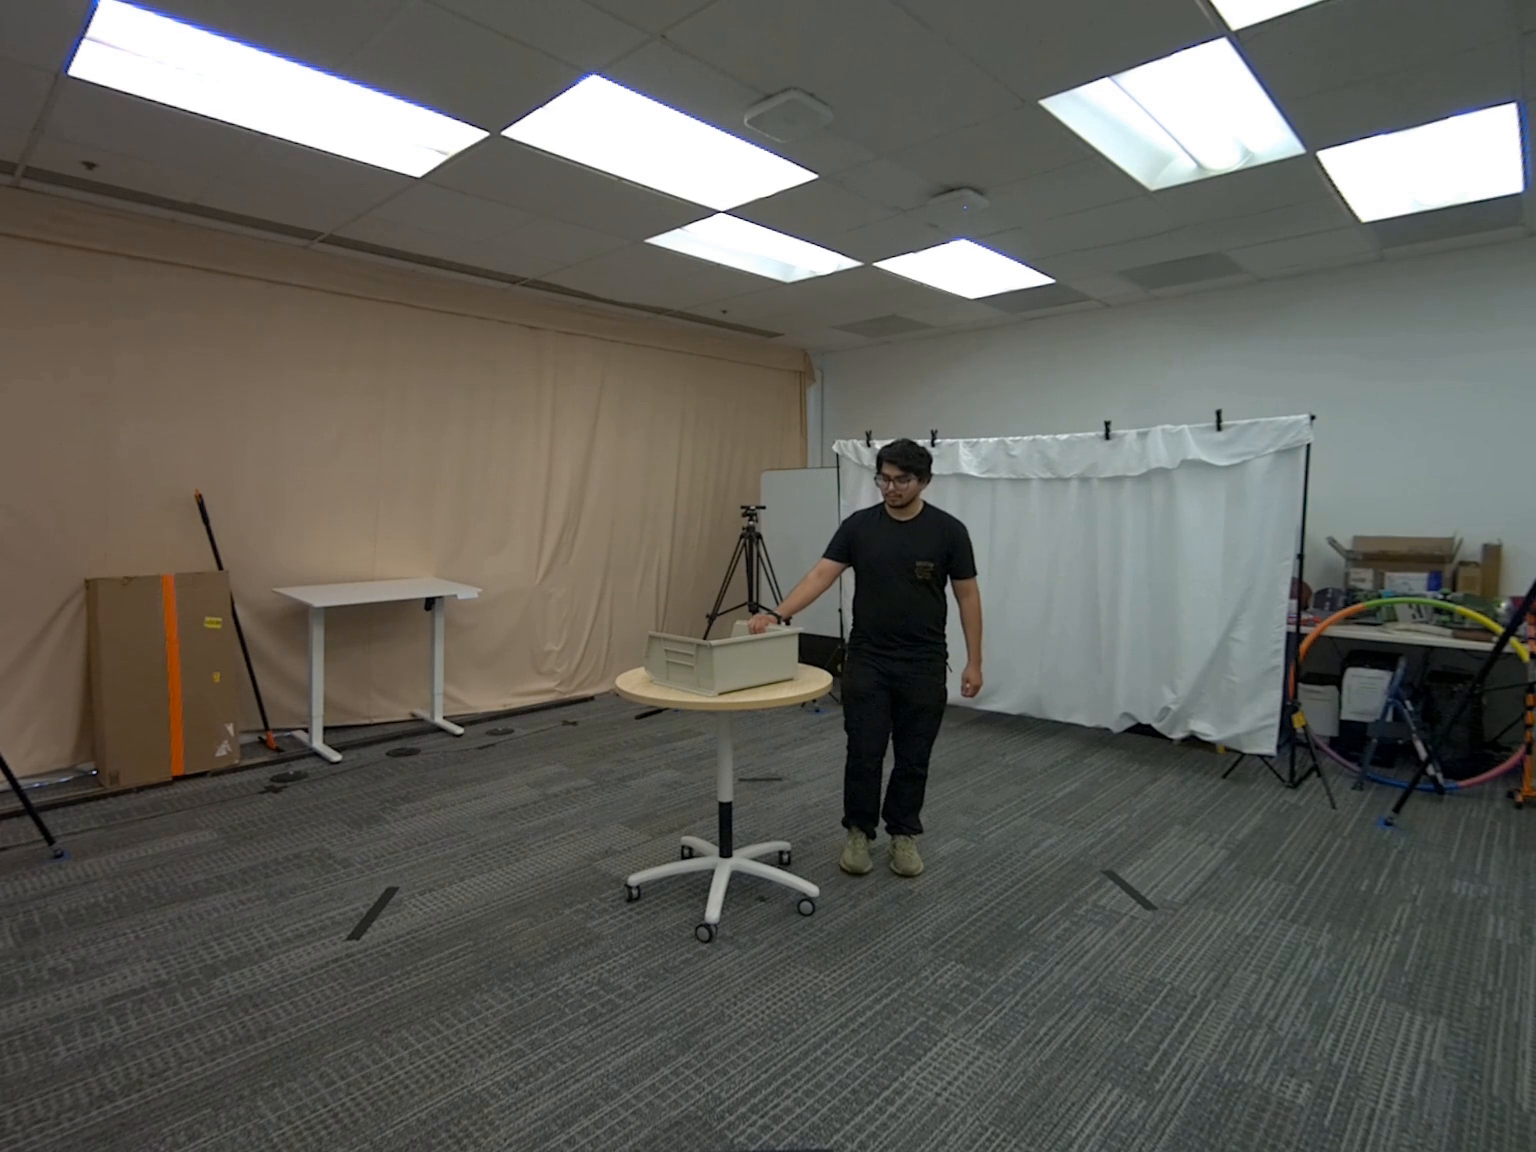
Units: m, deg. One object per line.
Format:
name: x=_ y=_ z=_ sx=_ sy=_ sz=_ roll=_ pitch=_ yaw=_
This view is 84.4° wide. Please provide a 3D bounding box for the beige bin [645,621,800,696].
beige bin: x=-0.154 y=0.272 z=2.922 sx=0.409 sy=0.188 sz=0.390 roll=-3 pitch=8 yaw=-42
